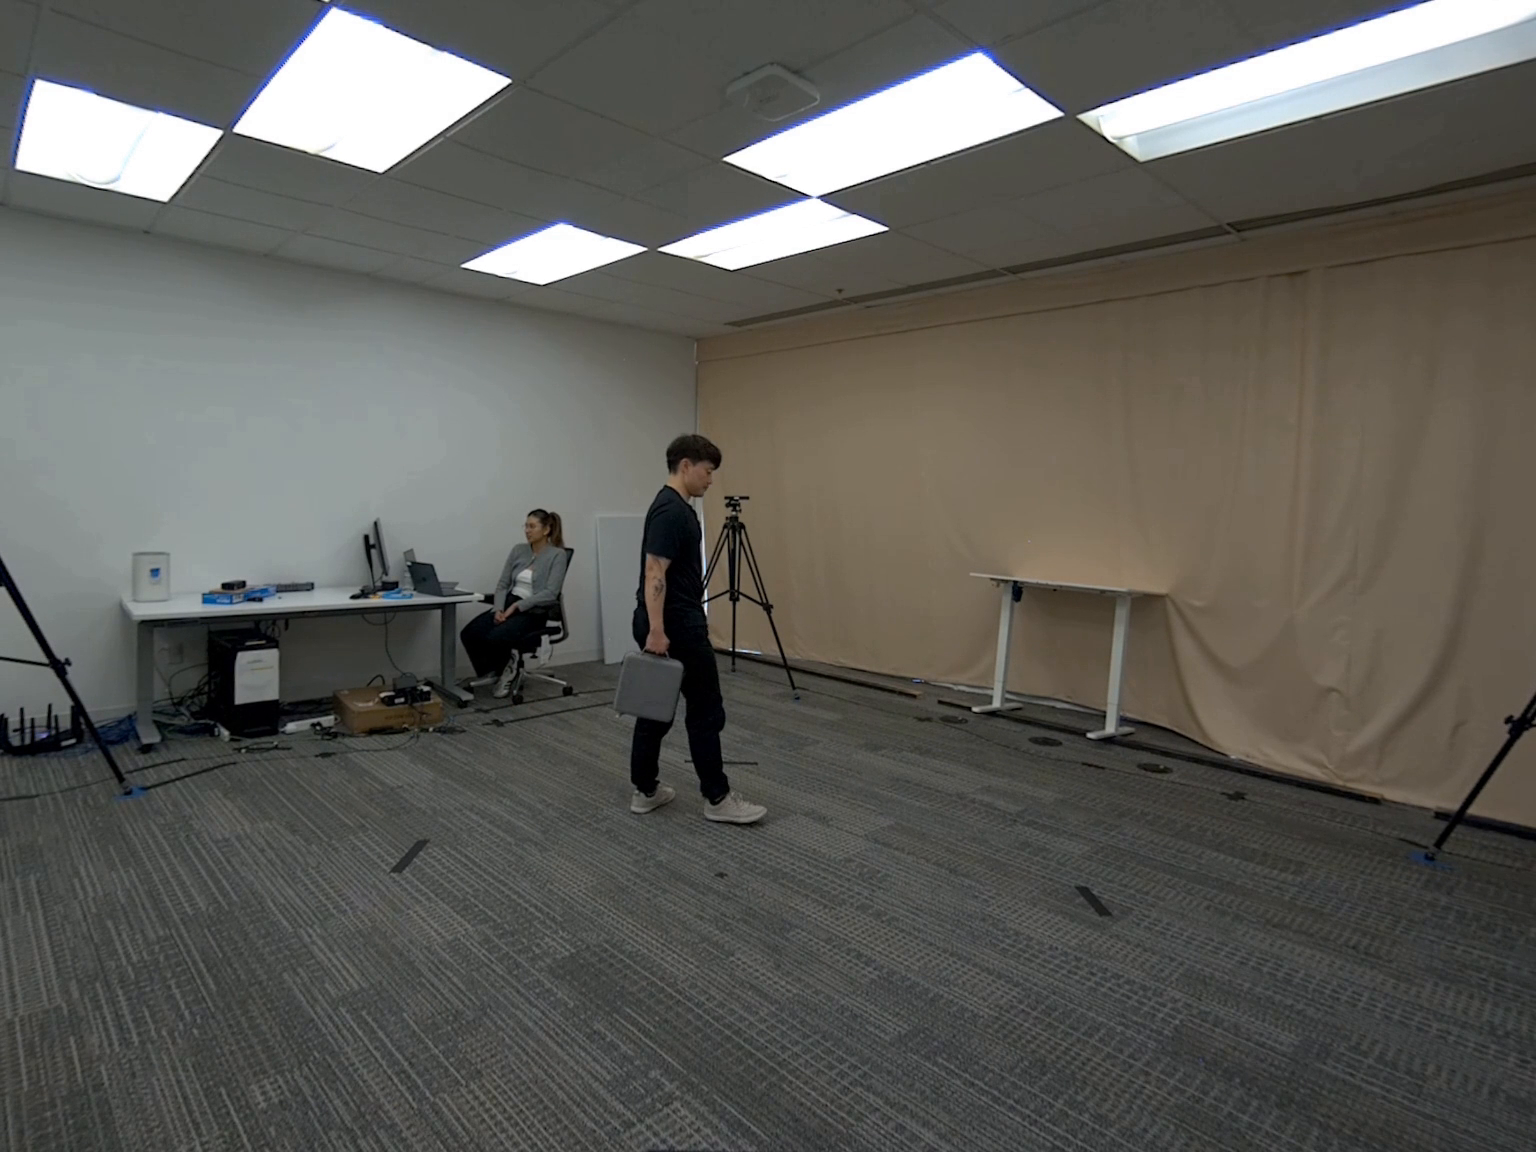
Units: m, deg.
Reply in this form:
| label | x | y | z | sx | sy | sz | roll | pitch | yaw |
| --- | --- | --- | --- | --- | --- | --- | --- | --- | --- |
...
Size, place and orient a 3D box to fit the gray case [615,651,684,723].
| label | x | y | z | sx | sy | sz | roll | pitch | yaw |
| --- | --- | --- | --- | --- | --- | --- | --- | --- | --- |
| gray case | -0.495 | 0.448 | 3.471 | 0.255 | 0.260 | 0.105 | 10 | 4 | -7 |
